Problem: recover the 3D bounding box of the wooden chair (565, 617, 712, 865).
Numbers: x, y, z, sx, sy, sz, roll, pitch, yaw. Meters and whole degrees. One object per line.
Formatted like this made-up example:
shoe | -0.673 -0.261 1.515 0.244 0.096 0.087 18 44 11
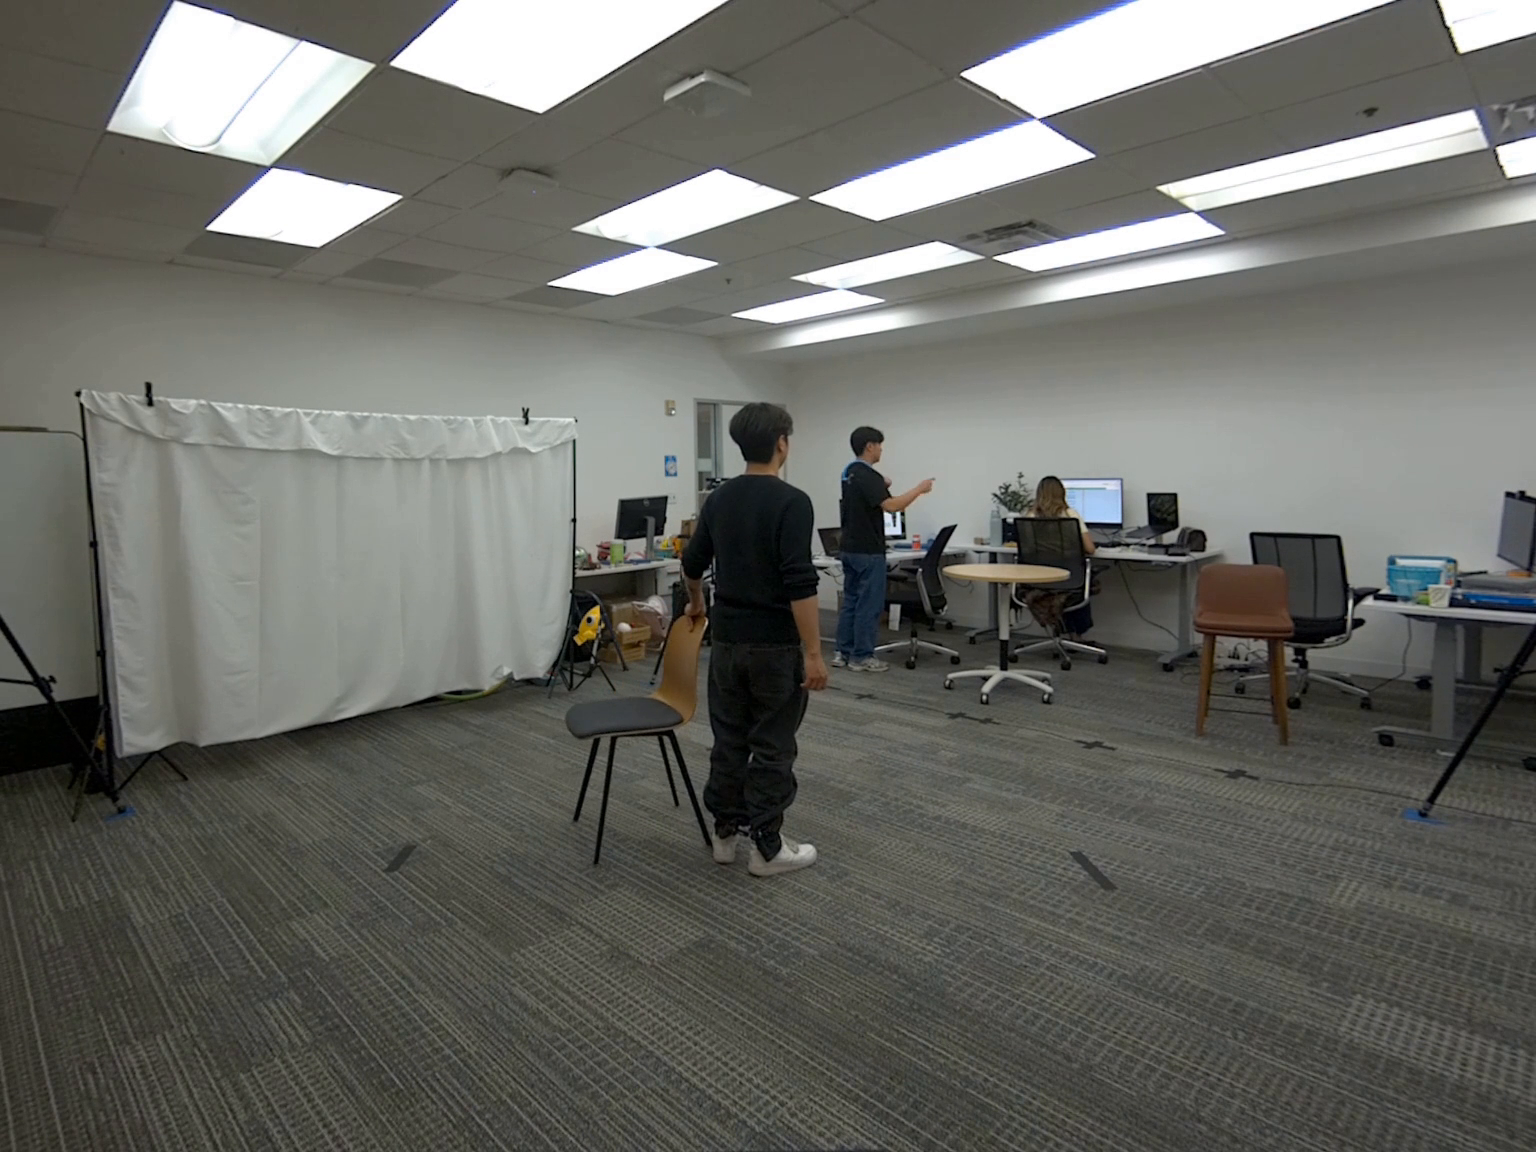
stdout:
wooden chair | -0.522 0.597 3.356 0.513 0.875 0.489 2 3 -21
